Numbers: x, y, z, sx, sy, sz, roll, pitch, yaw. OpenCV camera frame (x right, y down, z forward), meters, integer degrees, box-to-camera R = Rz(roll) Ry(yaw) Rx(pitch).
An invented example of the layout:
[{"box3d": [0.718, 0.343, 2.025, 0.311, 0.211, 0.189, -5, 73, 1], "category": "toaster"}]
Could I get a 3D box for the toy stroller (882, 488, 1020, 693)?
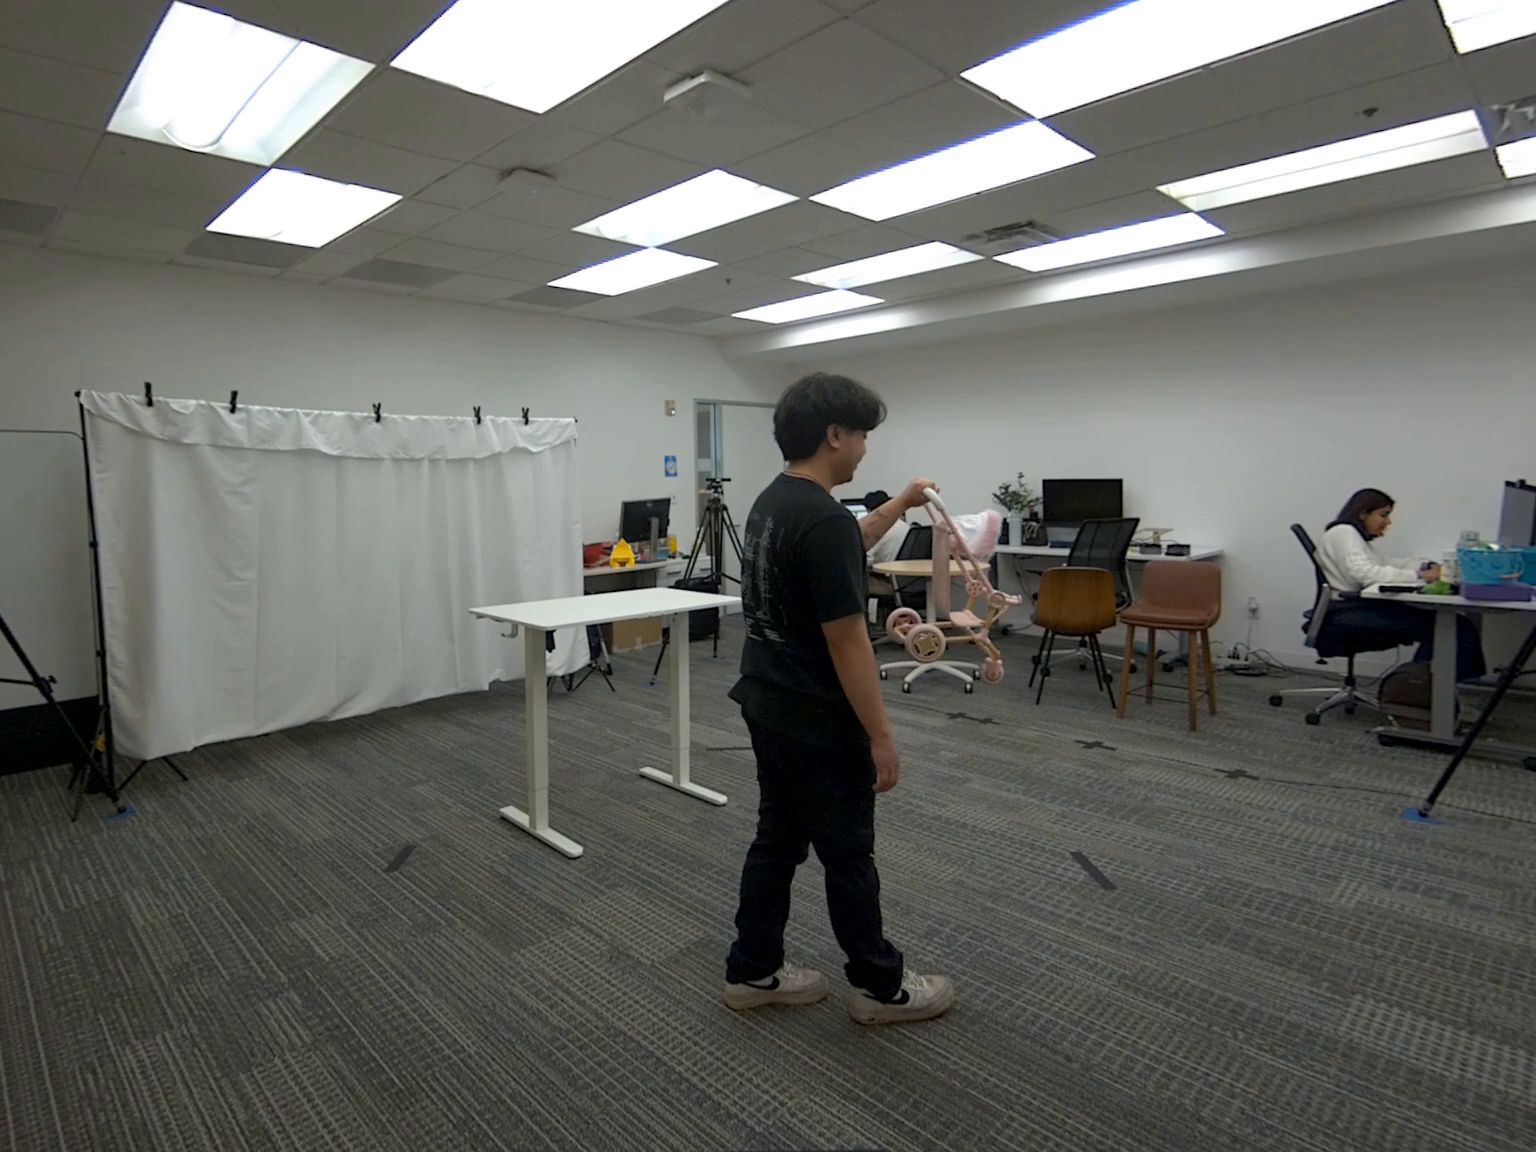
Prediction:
[{"box3d": [0.574, 0.037, 2.461, 0.342, 0.533, 0.282, 10, 5, 1], "category": "toy stroller"}]
